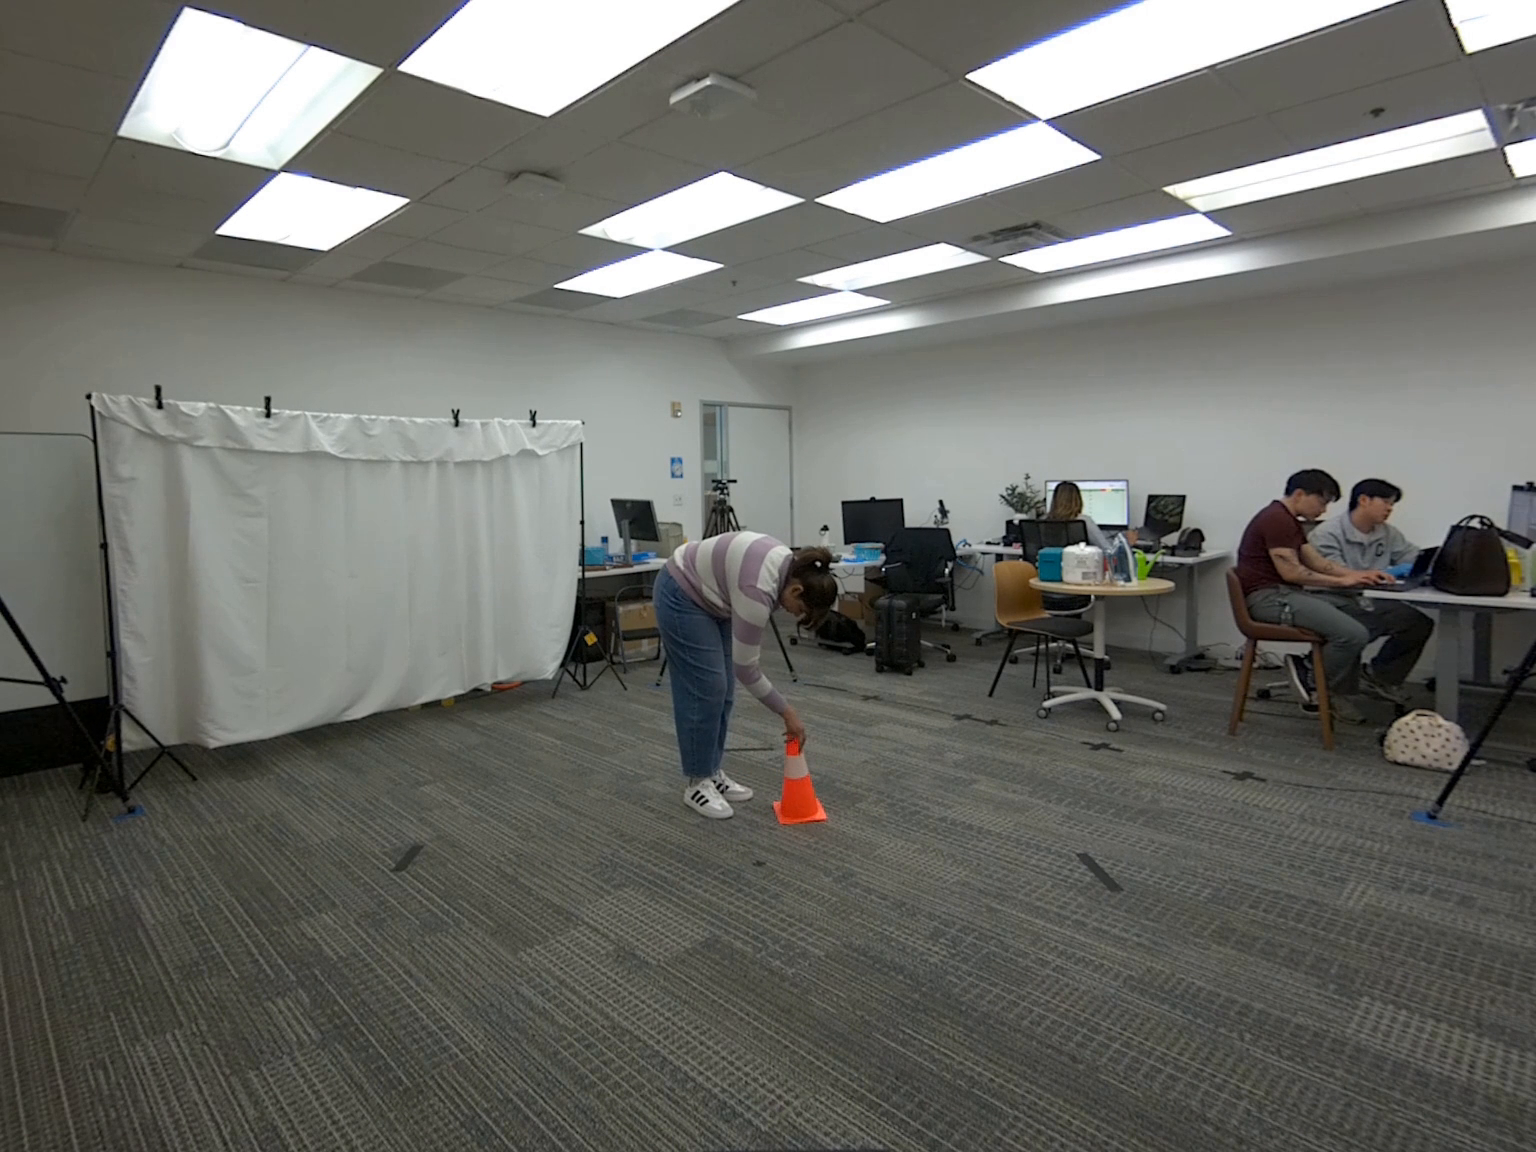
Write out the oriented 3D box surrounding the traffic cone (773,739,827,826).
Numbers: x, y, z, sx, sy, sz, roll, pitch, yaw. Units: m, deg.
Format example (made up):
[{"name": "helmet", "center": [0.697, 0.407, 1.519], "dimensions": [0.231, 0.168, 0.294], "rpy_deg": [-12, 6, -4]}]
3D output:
[{"name": "traffic cone", "center": [0.115, 0.796, 3.541], "dimensions": [0.204, 0.380, 0.206], "rpy_deg": [-4, 10, -5]}]
